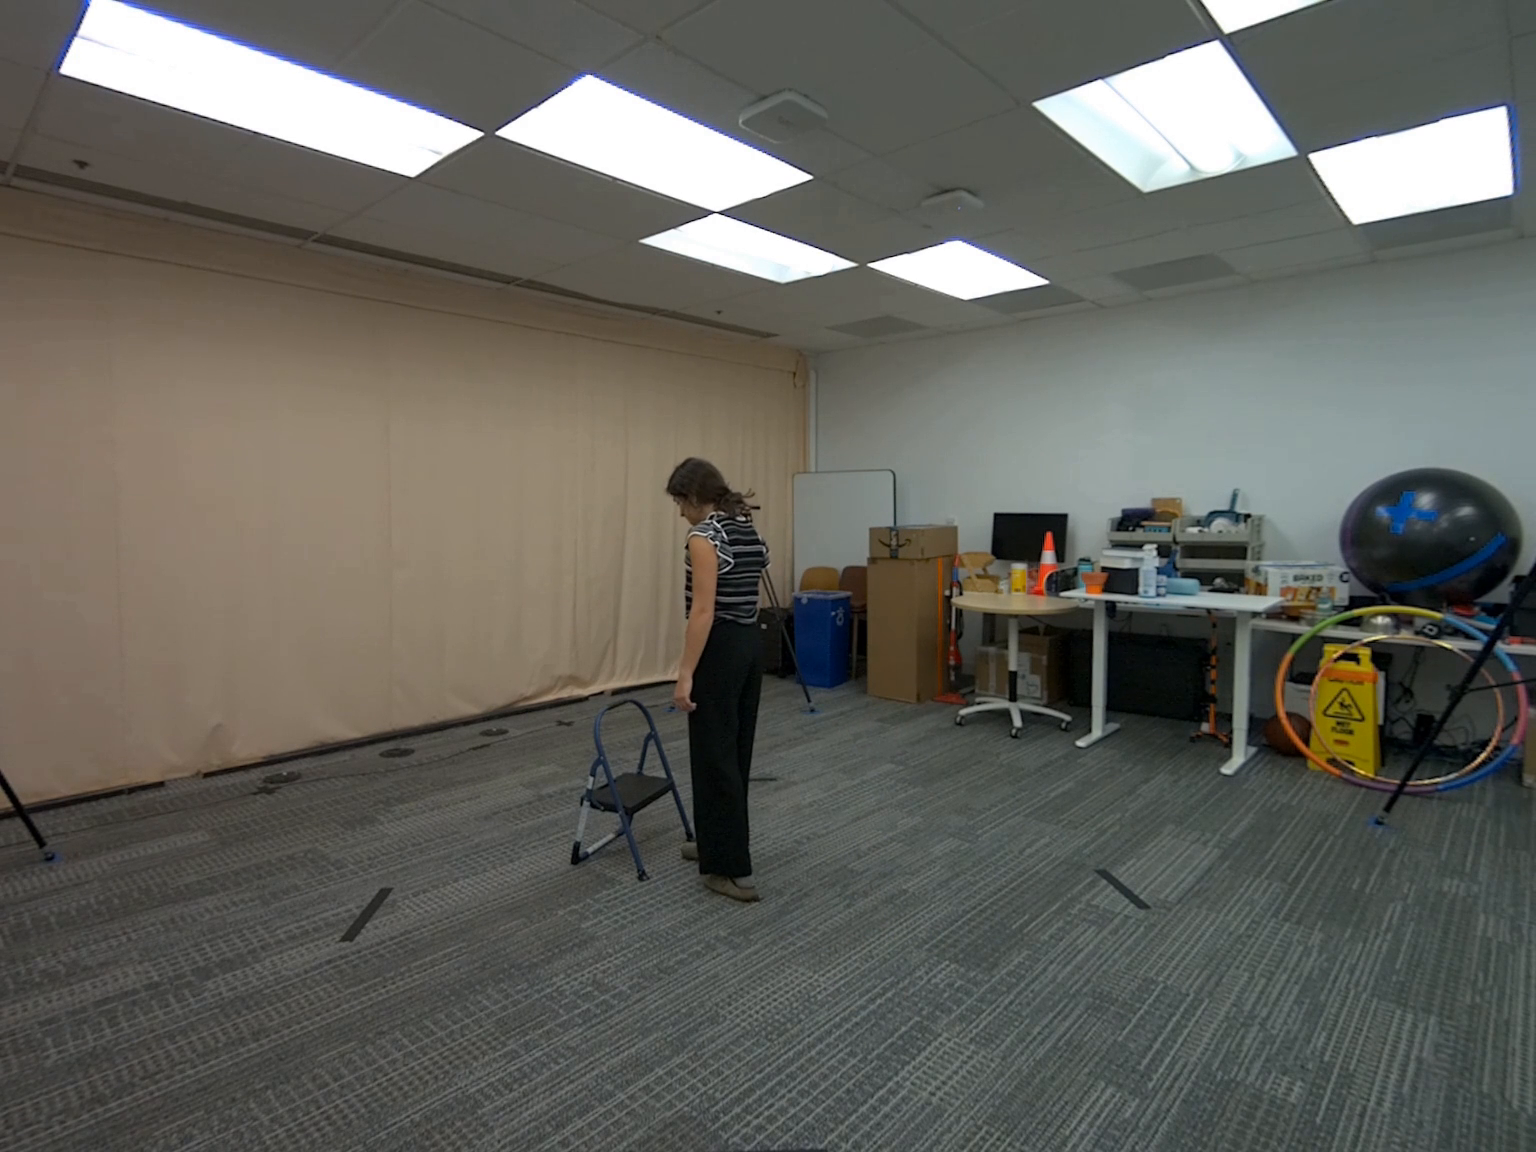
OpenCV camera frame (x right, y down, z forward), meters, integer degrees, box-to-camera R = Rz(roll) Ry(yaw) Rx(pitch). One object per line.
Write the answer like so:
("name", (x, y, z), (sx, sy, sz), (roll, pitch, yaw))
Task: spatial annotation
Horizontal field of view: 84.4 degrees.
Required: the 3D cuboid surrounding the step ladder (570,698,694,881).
("step ladder", (-0.539, 0.813, 3.384), (0.358, 0.605, 0.421), (0, 3, 23))
